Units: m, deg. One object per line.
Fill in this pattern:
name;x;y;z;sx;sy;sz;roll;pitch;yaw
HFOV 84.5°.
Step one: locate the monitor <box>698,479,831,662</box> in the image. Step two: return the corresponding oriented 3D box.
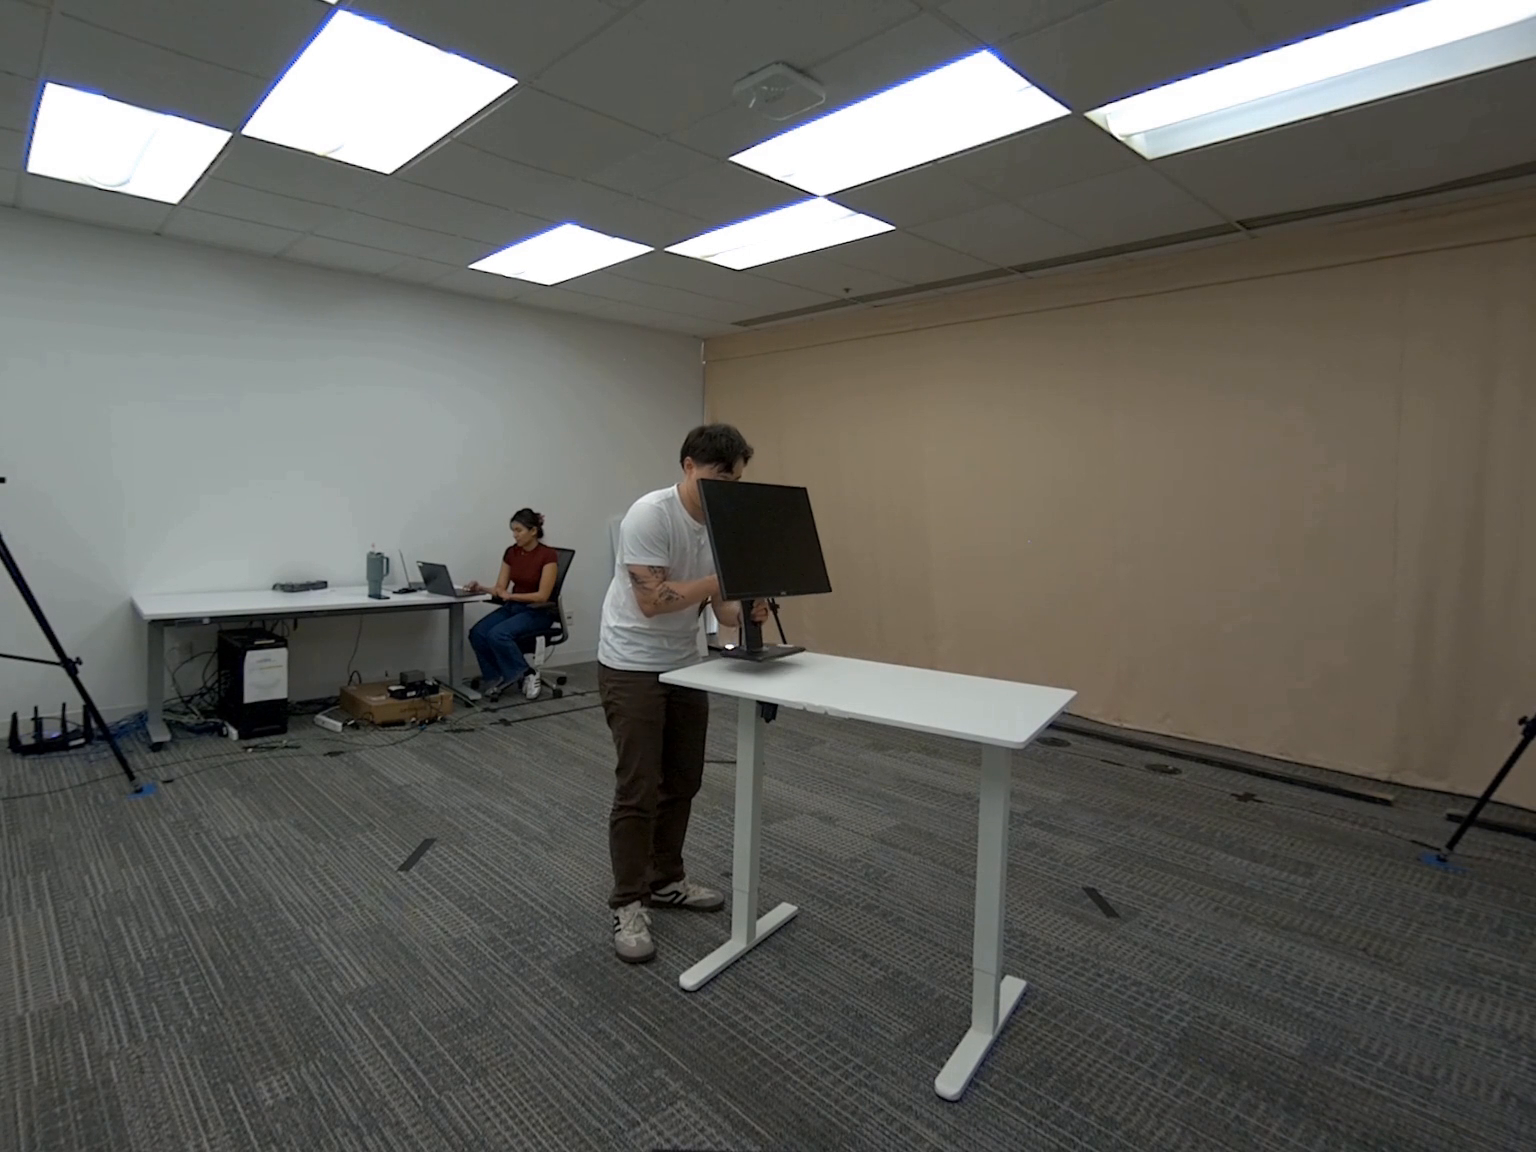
monitor;-0.029;-0.022;2.524;0.191;0.523;0.527;-2;0;34
